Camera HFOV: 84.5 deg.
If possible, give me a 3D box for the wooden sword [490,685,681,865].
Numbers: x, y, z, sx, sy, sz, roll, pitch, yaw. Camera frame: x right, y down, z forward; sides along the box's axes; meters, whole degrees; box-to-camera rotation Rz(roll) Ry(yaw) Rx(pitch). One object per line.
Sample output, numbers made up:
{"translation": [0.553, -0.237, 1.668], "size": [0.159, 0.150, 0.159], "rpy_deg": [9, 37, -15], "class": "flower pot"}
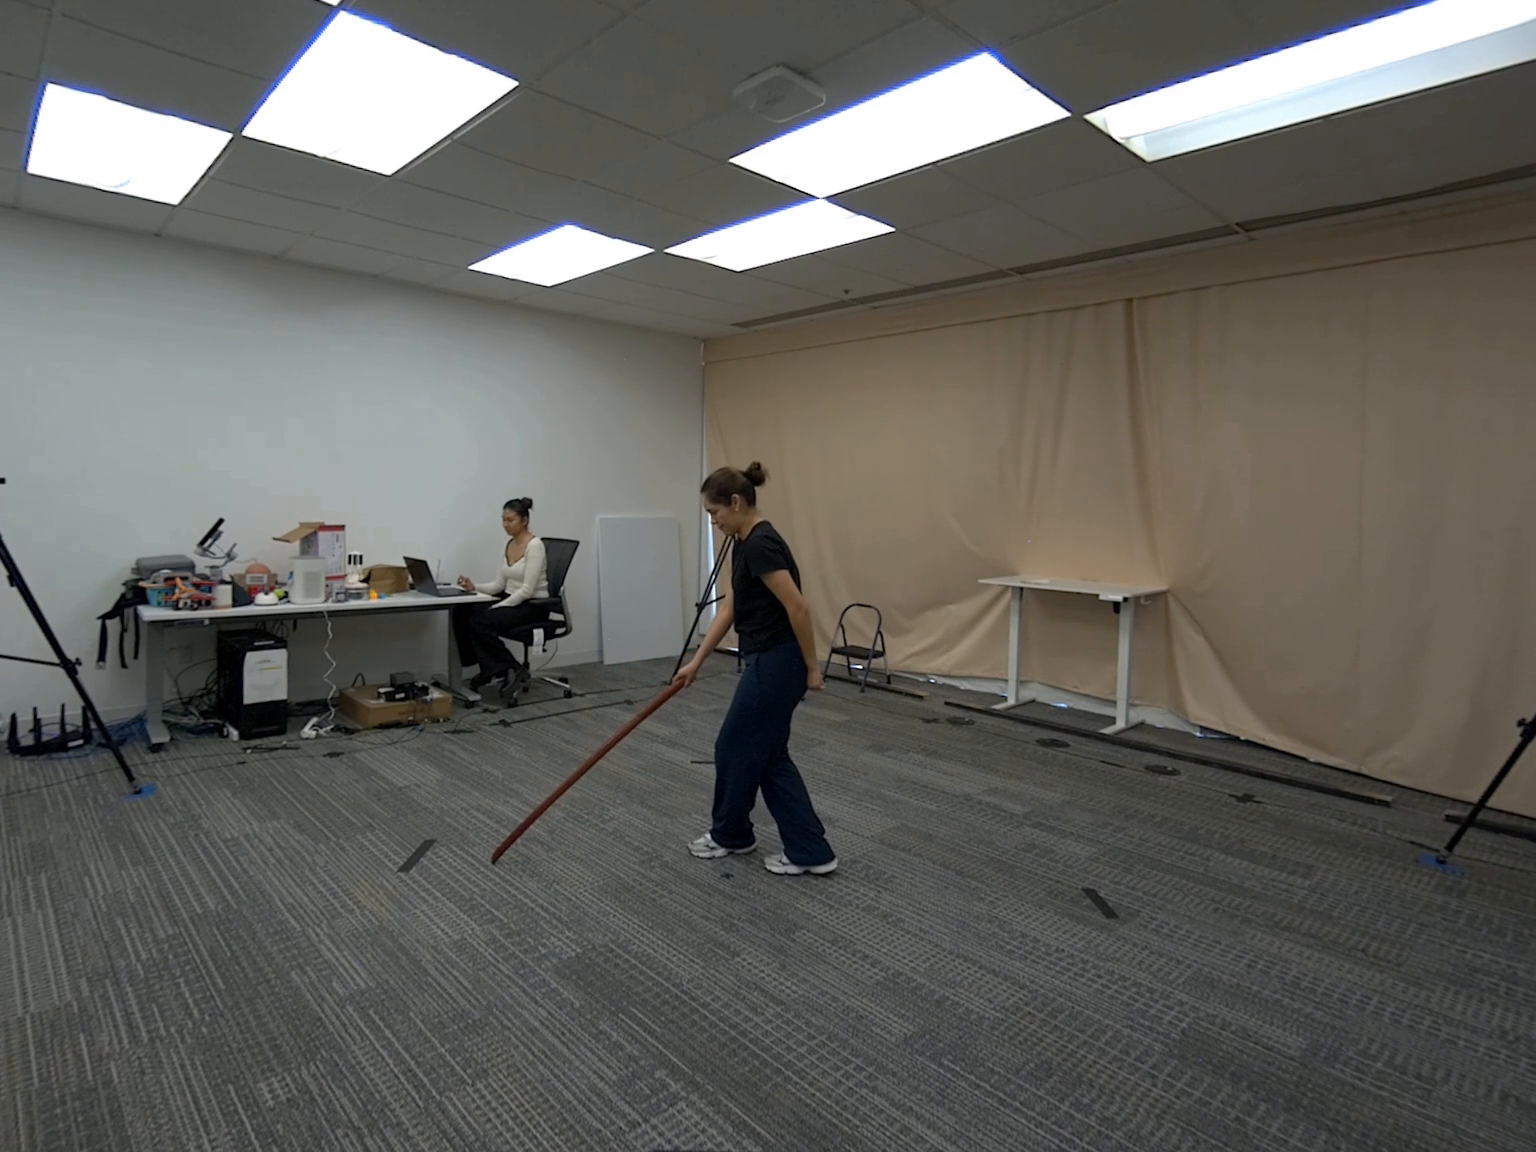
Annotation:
{"translation": [-0.671, 0.713, 3.219], "size": [1.024, 0.050, 0.025], "rpy_deg": [-43, 29, -10], "class": "wooden sword"}
